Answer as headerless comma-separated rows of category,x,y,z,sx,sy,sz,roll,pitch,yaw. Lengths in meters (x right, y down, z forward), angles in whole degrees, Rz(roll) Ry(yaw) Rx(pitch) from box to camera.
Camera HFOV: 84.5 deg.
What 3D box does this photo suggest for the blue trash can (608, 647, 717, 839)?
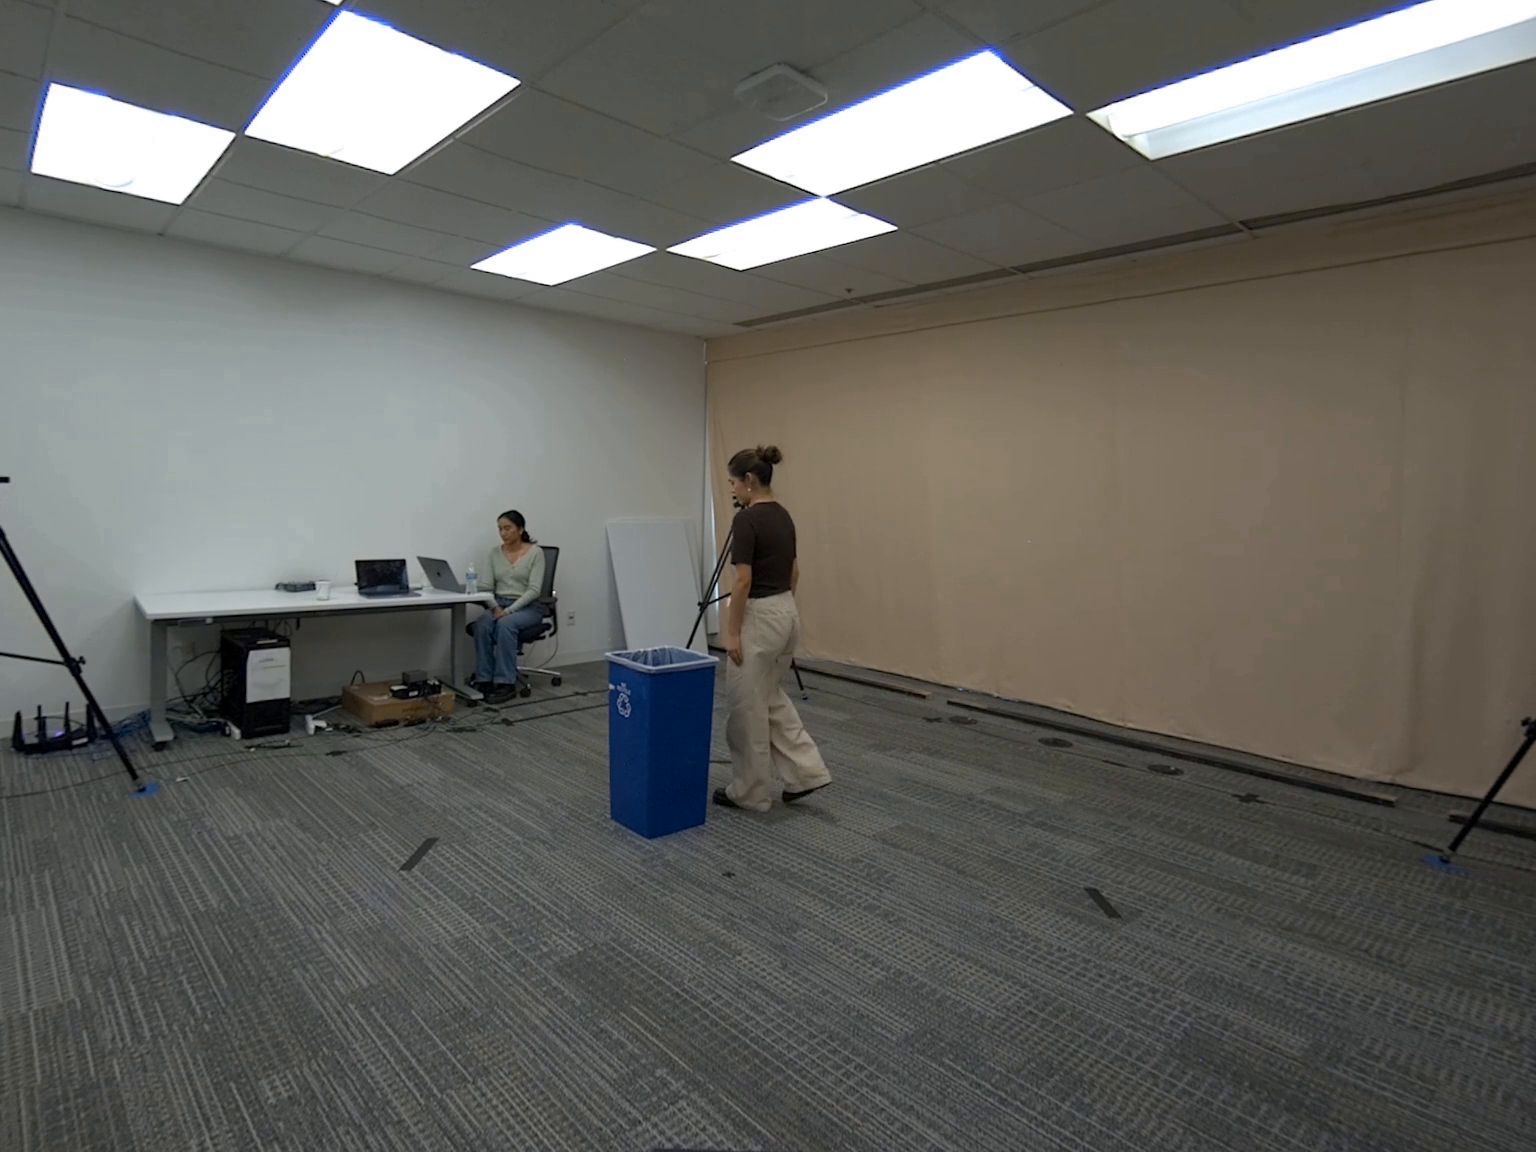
blue trash can,-0.474,0.696,3.584,0.365,0.712,0.388,-1,4,-41
